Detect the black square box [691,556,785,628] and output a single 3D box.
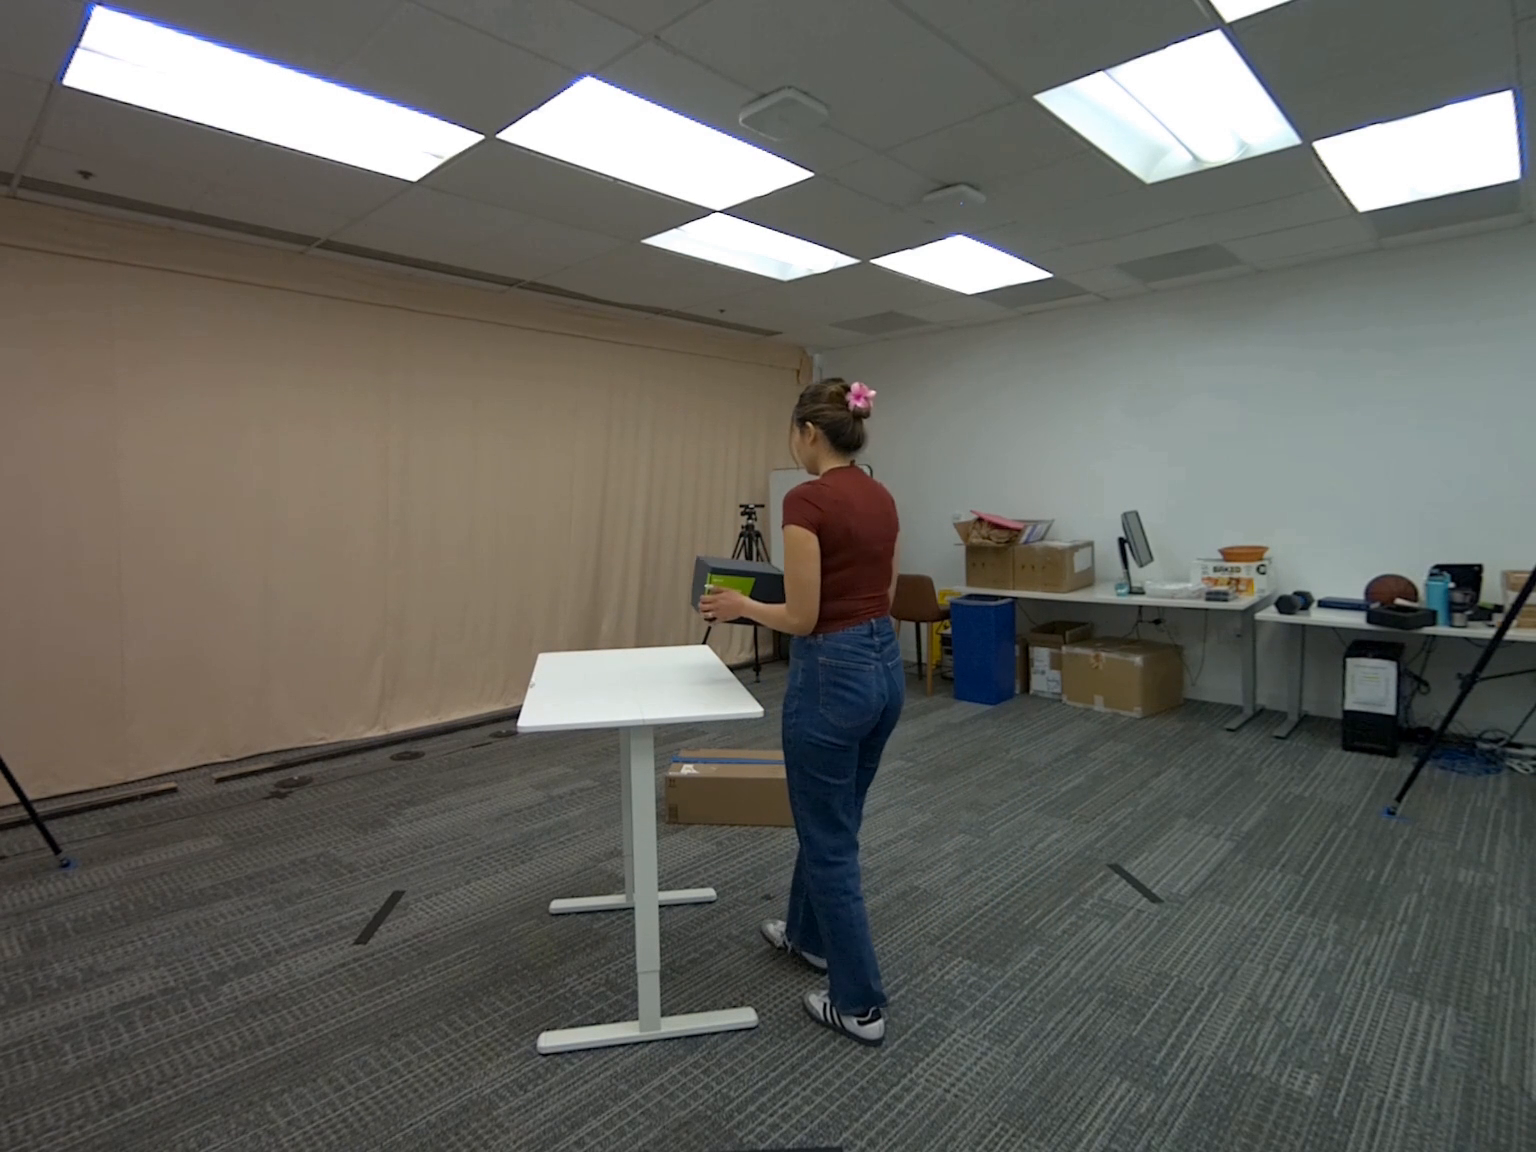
[{"bbox_3d":[-0.092,0.040,2.457,0.225,0.155,0.220,6,7,-11],"label":"black square box"}]
